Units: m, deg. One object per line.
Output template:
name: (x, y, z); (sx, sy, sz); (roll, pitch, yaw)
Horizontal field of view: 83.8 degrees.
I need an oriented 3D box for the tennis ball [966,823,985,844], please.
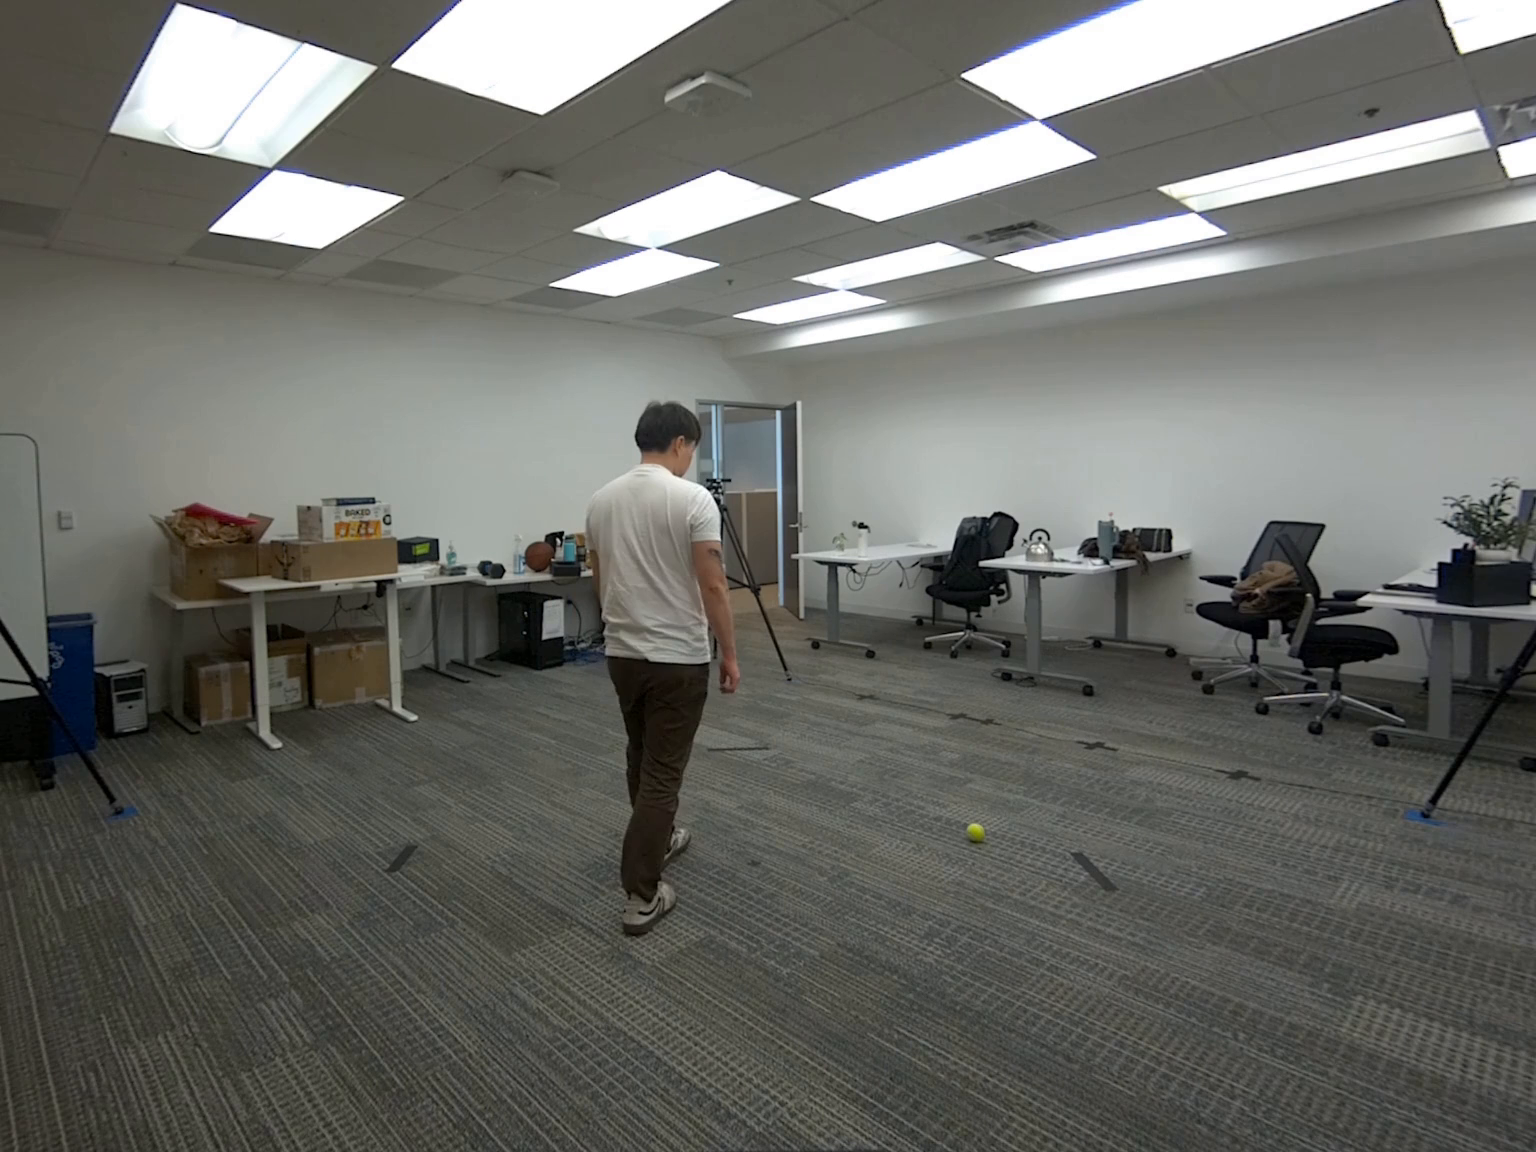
tennis ball: (0.799, 0.969, 3.258); (0.066, 0.066, 0.067); (-1, 5, -2)
